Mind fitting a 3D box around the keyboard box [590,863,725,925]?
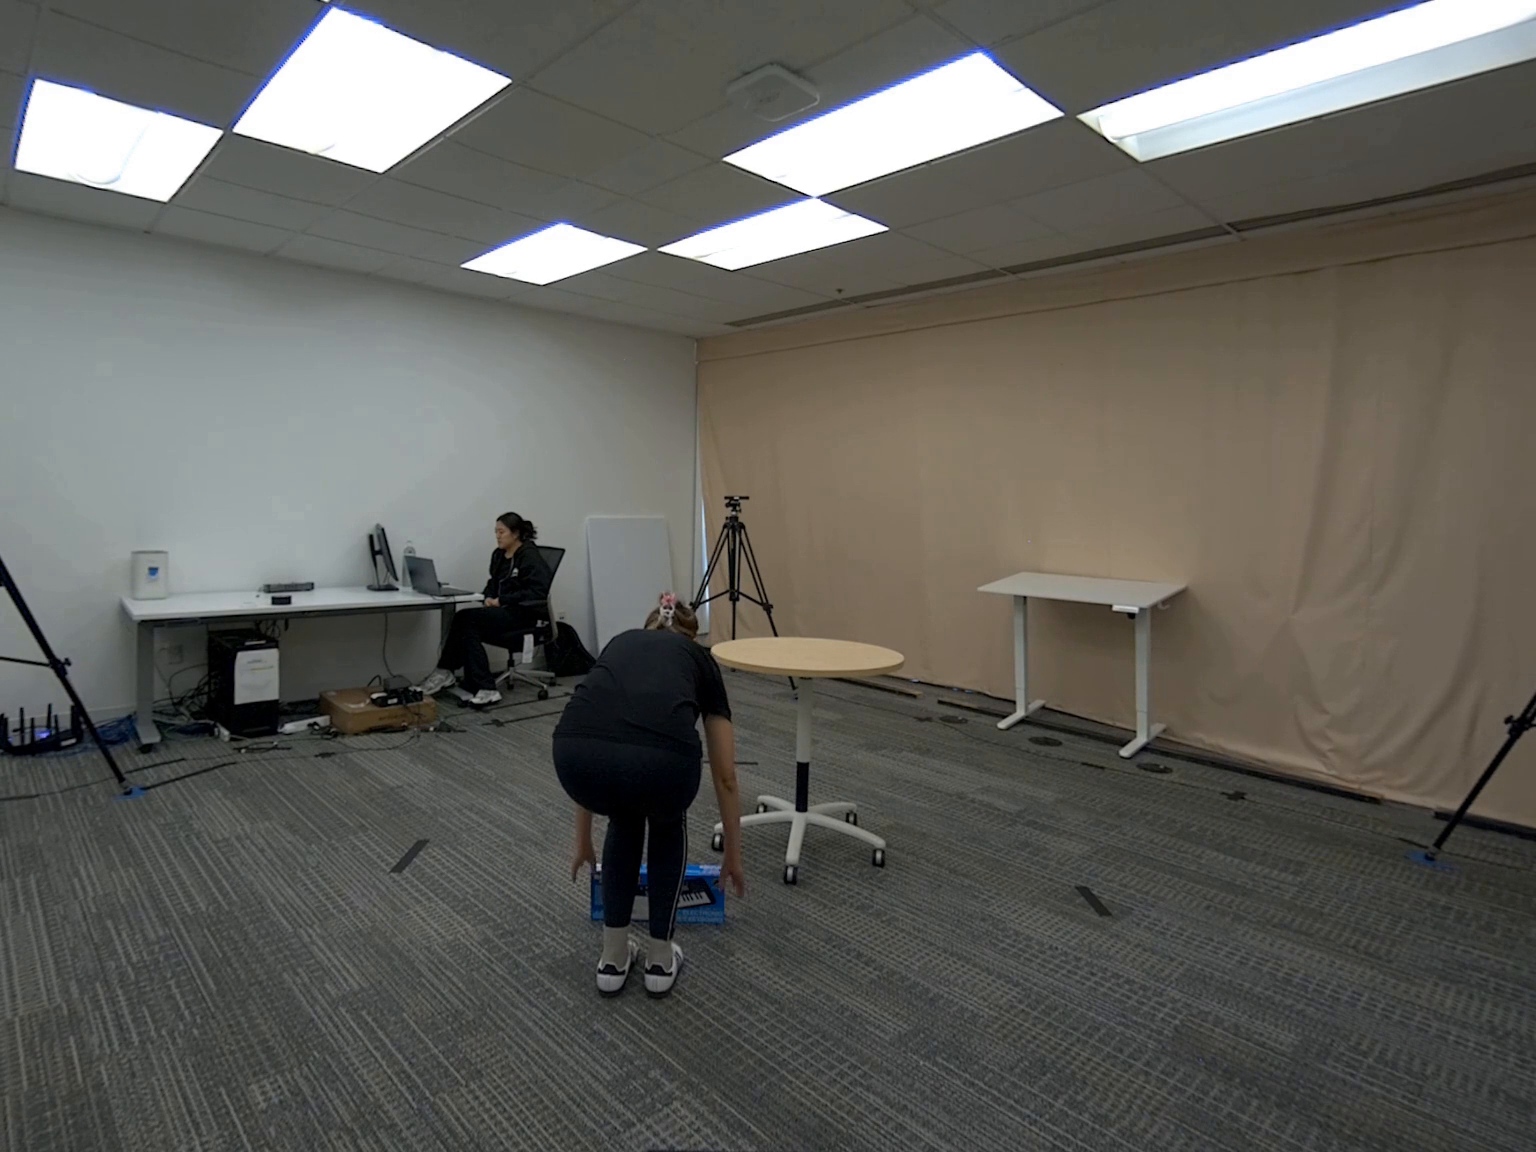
[{"bbox_3d":[-0.367,1.044,2.761,0.436,0.175,0.059,2,9,-1],"label":"keyboard box"}]
